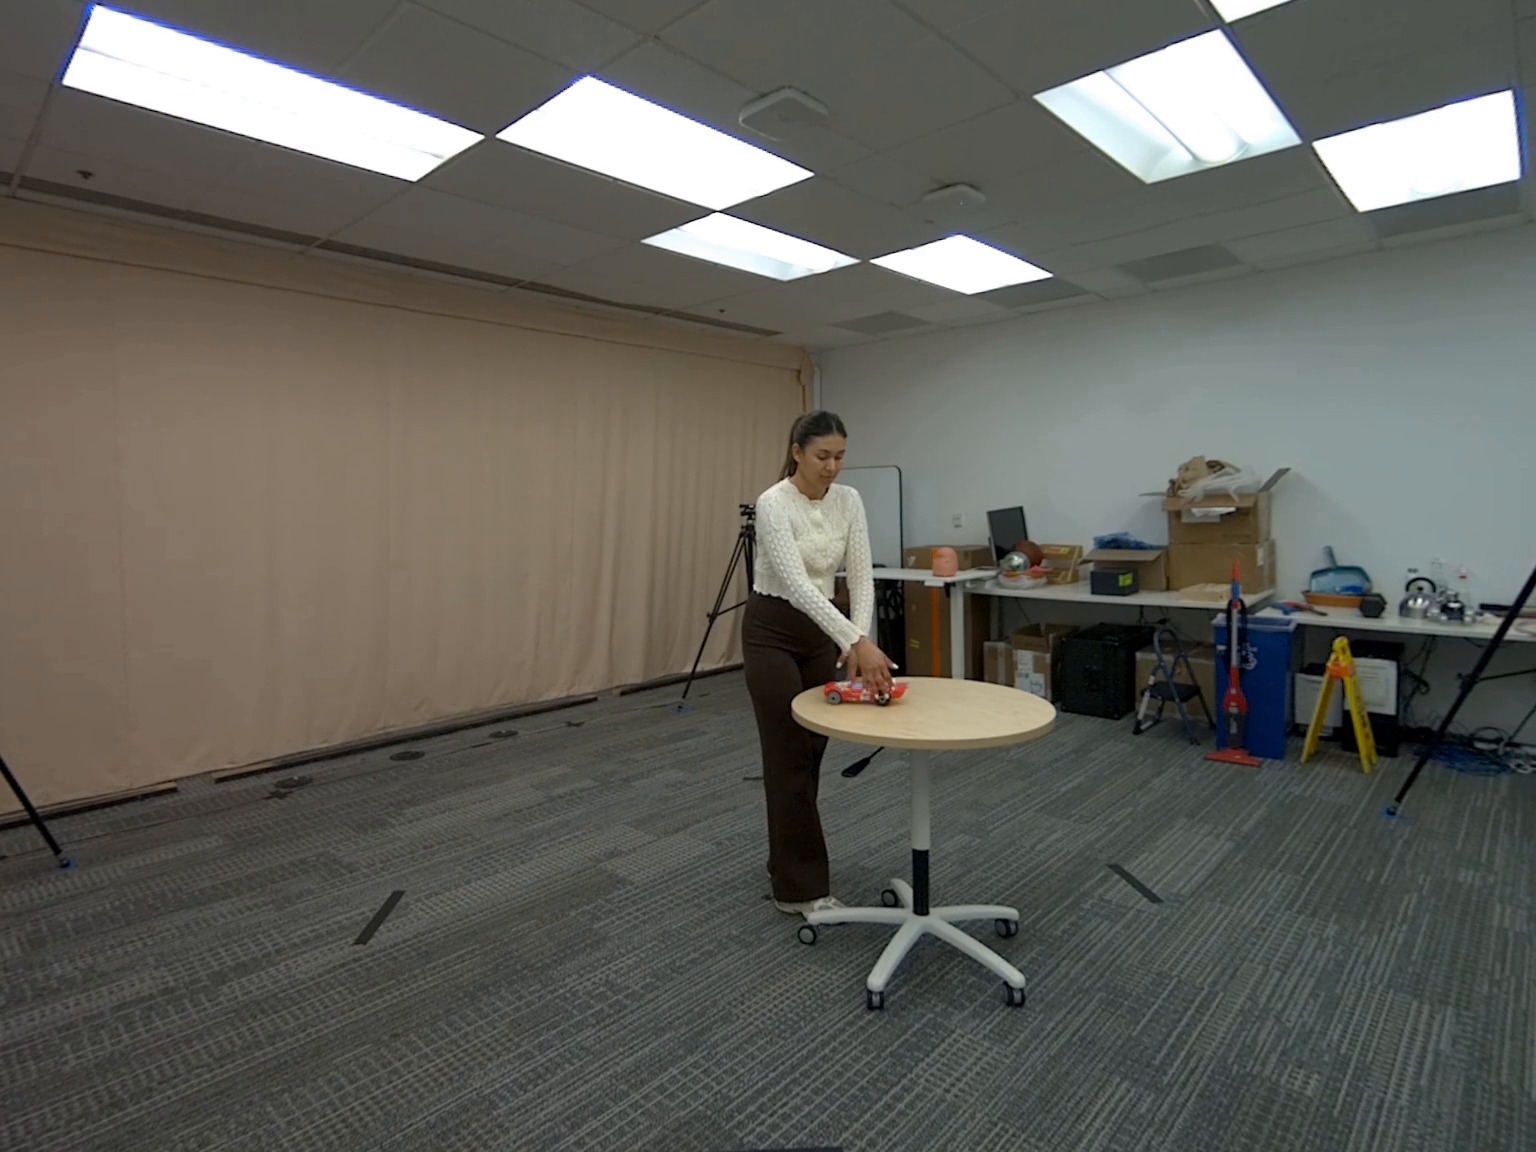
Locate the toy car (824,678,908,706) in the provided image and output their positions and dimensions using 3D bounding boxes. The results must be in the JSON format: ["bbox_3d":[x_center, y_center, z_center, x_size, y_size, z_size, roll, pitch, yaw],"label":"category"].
[{"bbox_3d":[0.317,0.356,2.570,0.258,0.083,0.129,-12,2,14],"label":"toy car"}]
